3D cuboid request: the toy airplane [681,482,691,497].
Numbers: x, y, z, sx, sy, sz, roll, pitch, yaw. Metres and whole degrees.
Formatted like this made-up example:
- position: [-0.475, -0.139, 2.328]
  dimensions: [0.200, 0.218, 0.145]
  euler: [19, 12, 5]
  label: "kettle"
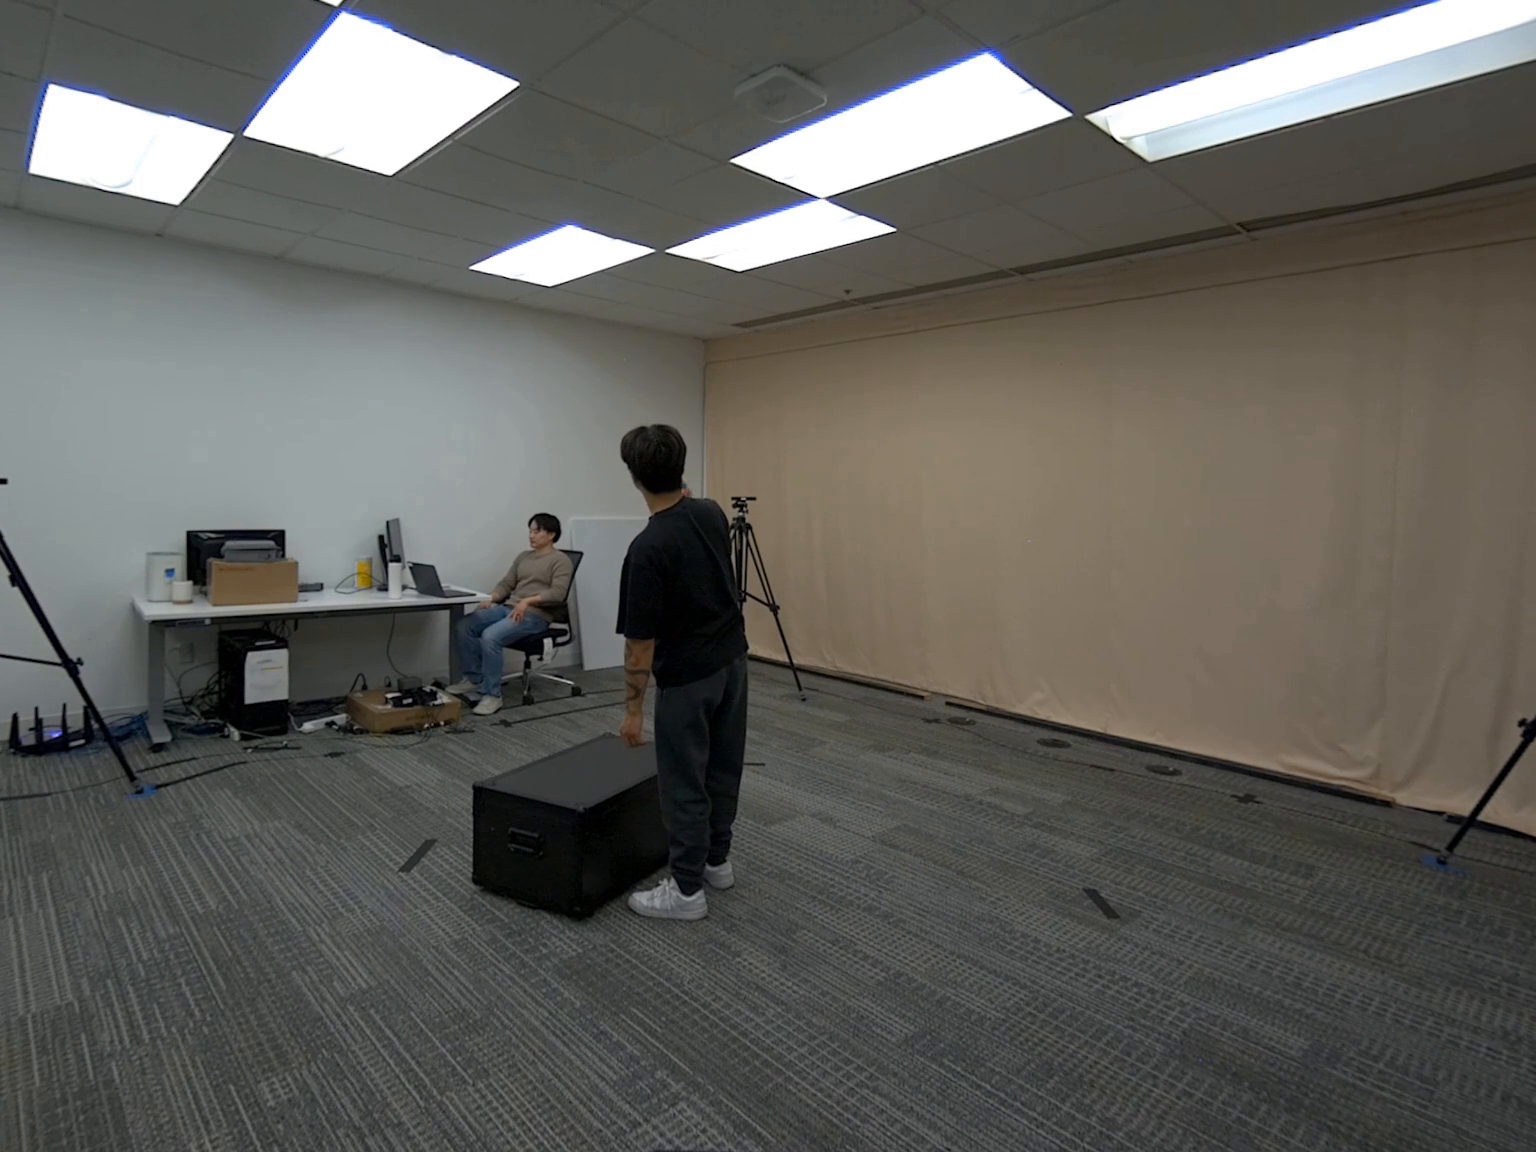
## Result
- position: [-0.385, -0.261, 3.356]
  dimensions: [0.157, 0.253, 0.256]
  euler: [-8, 32, 6]
  label: "toy airplane"
